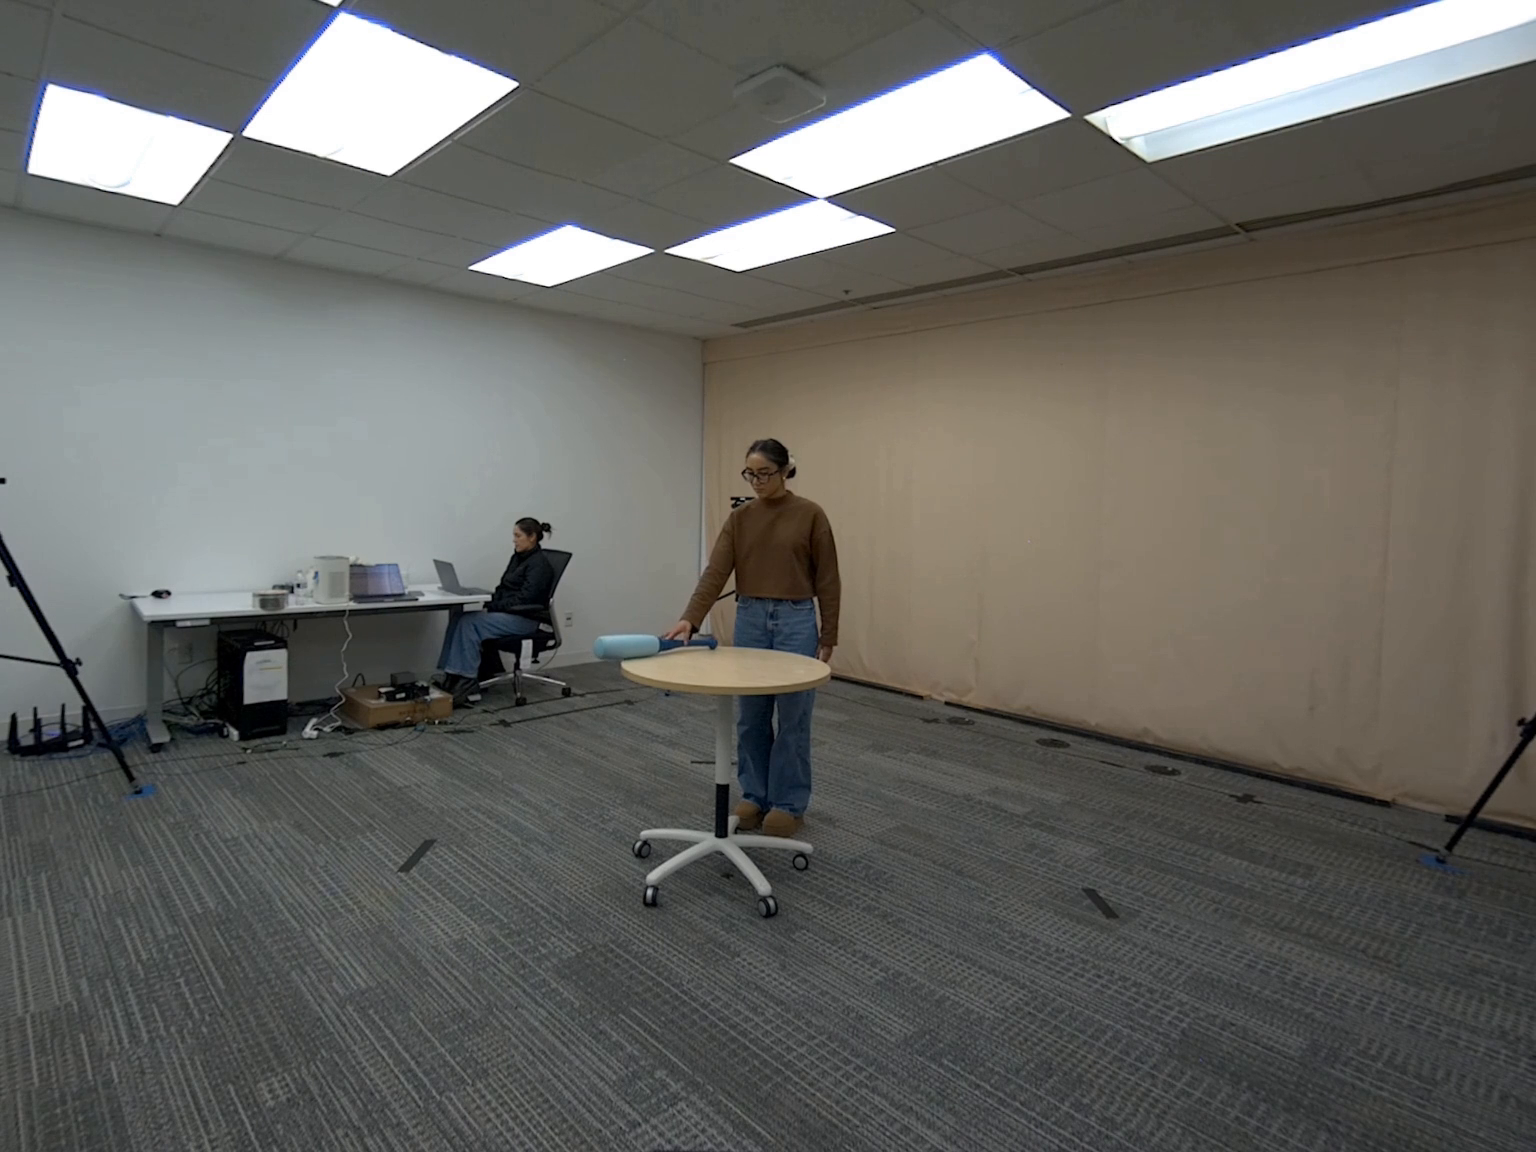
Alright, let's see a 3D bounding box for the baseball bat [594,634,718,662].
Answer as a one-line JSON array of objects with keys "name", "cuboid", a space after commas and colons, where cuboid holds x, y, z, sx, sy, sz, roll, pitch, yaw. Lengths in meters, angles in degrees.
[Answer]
[{"name": "baseball bat", "cuboid": [-0.424, 0.270, 3.233, 0.530, 0.089, 0.091, 2, 3, -41]}]
